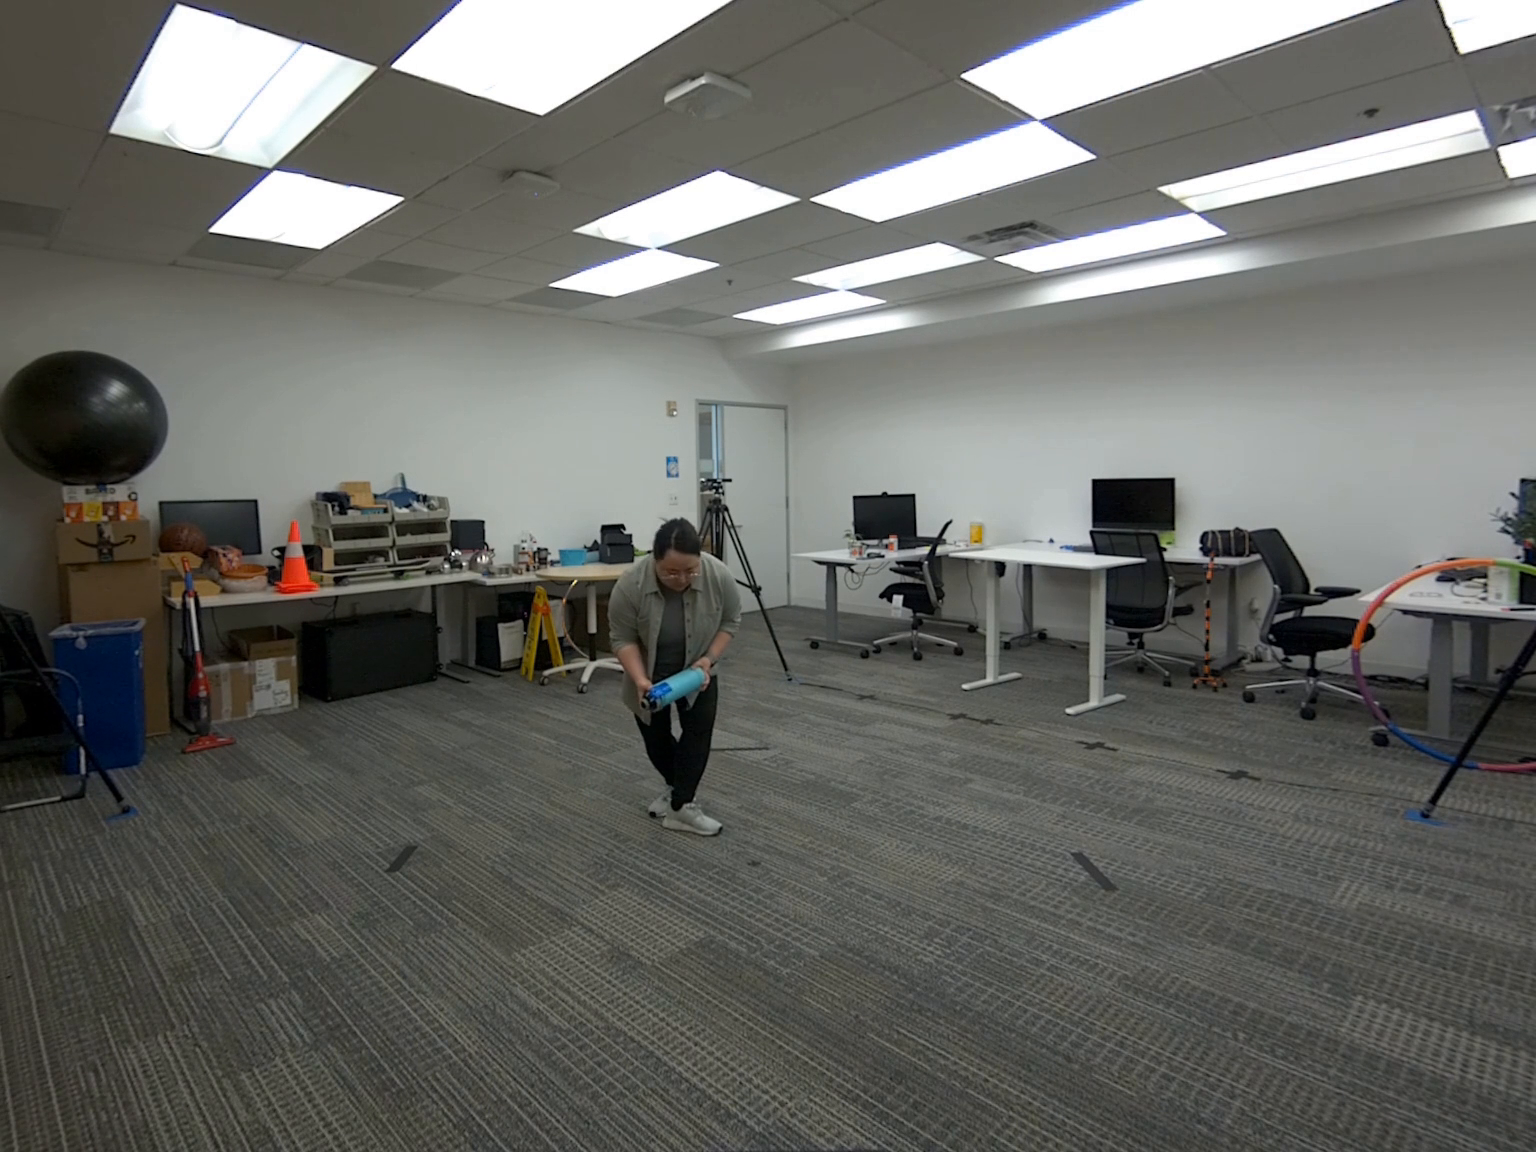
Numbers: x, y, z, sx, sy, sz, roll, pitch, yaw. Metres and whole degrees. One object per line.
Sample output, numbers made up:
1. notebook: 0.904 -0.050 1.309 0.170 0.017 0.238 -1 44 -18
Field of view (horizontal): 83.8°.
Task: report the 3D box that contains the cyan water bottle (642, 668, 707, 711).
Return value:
1. cyan water bottle: -0.364 0.438 3.275 0.095 0.091 0.278 4 16 44
